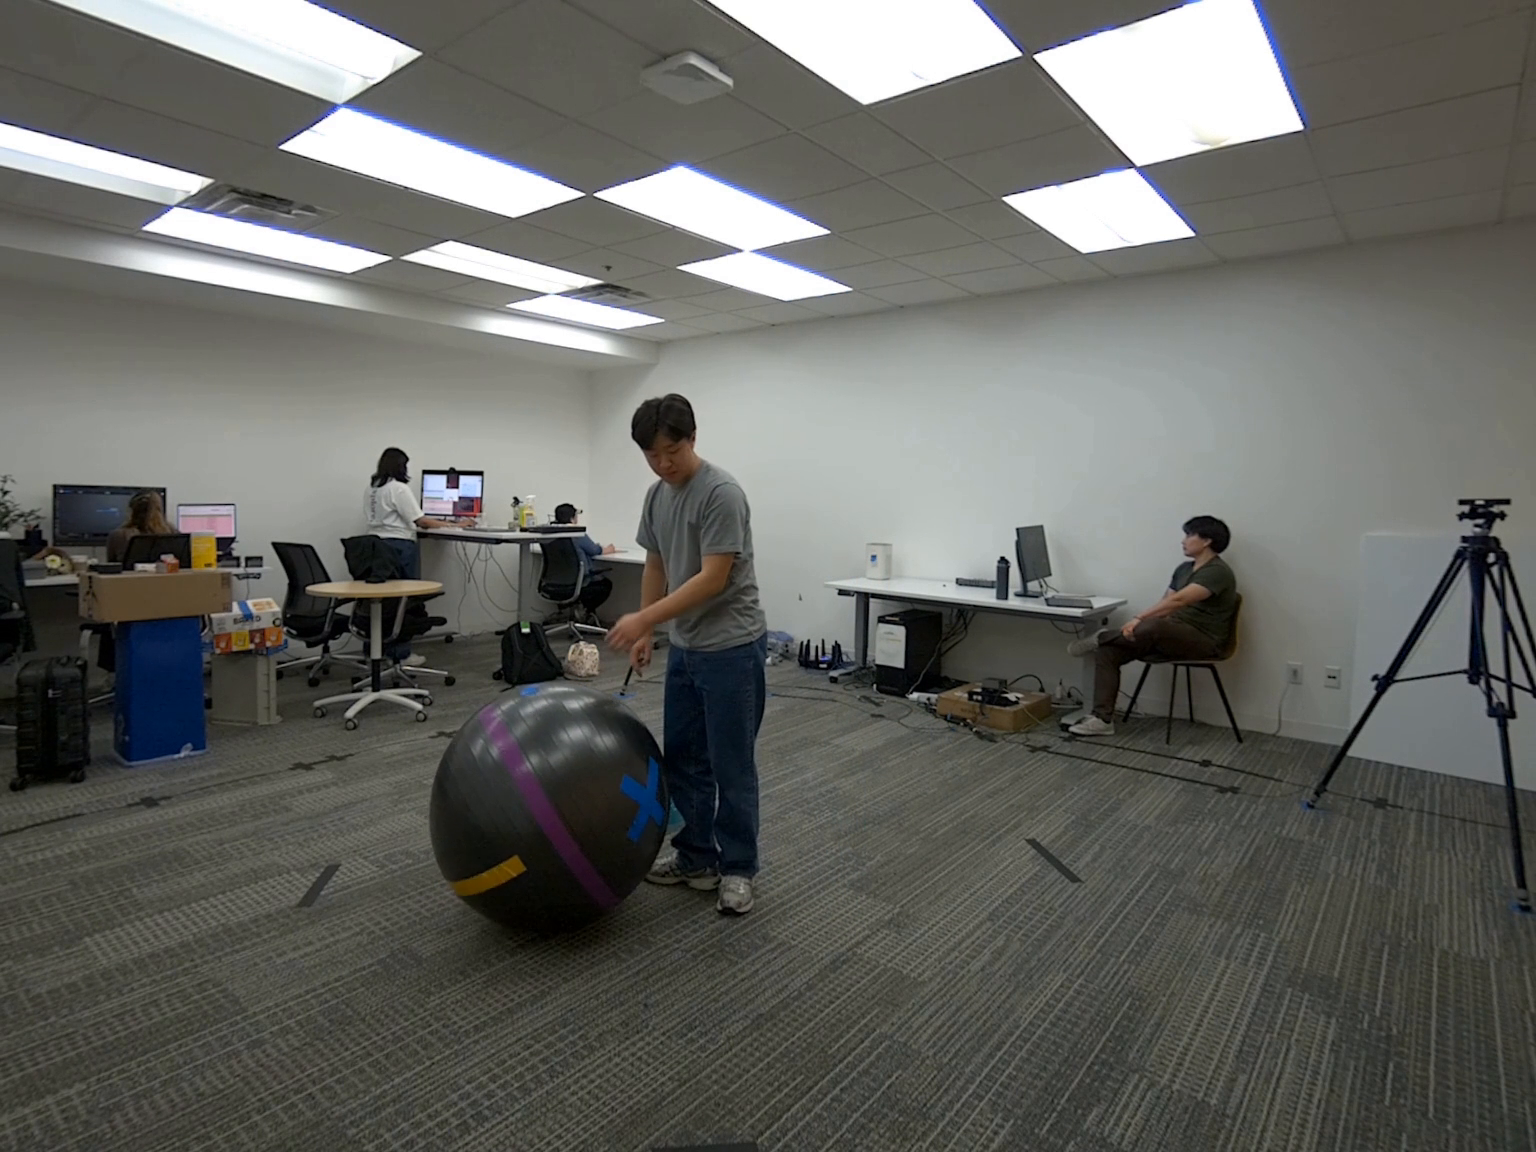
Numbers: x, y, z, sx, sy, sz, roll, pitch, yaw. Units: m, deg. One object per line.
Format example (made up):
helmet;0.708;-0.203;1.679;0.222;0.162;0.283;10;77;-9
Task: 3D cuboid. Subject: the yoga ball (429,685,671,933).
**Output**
yoga ball;-0.712;0.729;2.733;0.757;0.755;0.762;1;4;-2
